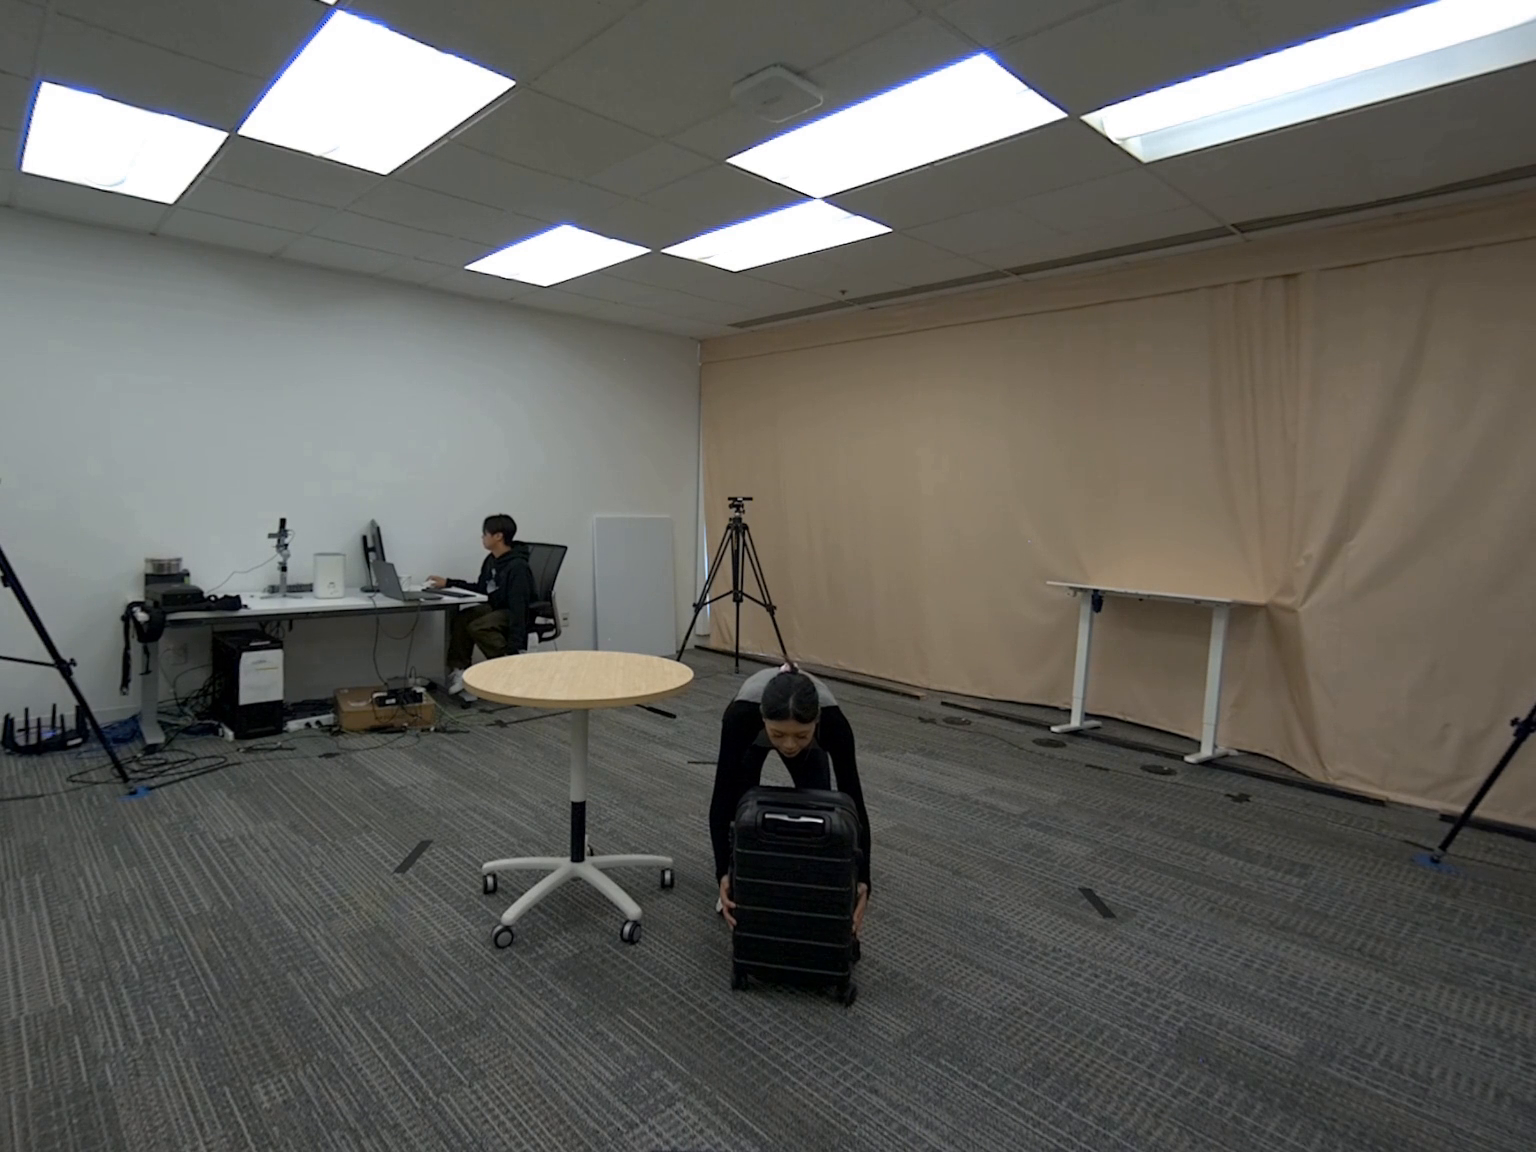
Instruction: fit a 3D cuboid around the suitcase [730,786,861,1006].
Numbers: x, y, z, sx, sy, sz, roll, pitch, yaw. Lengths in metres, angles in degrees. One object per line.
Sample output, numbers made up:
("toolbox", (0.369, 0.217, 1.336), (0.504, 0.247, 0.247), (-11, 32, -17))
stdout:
("suitcase", (0.066, 0.899, 2.418), (0.379, 0.547, 0.247), (2, 6, 11))
